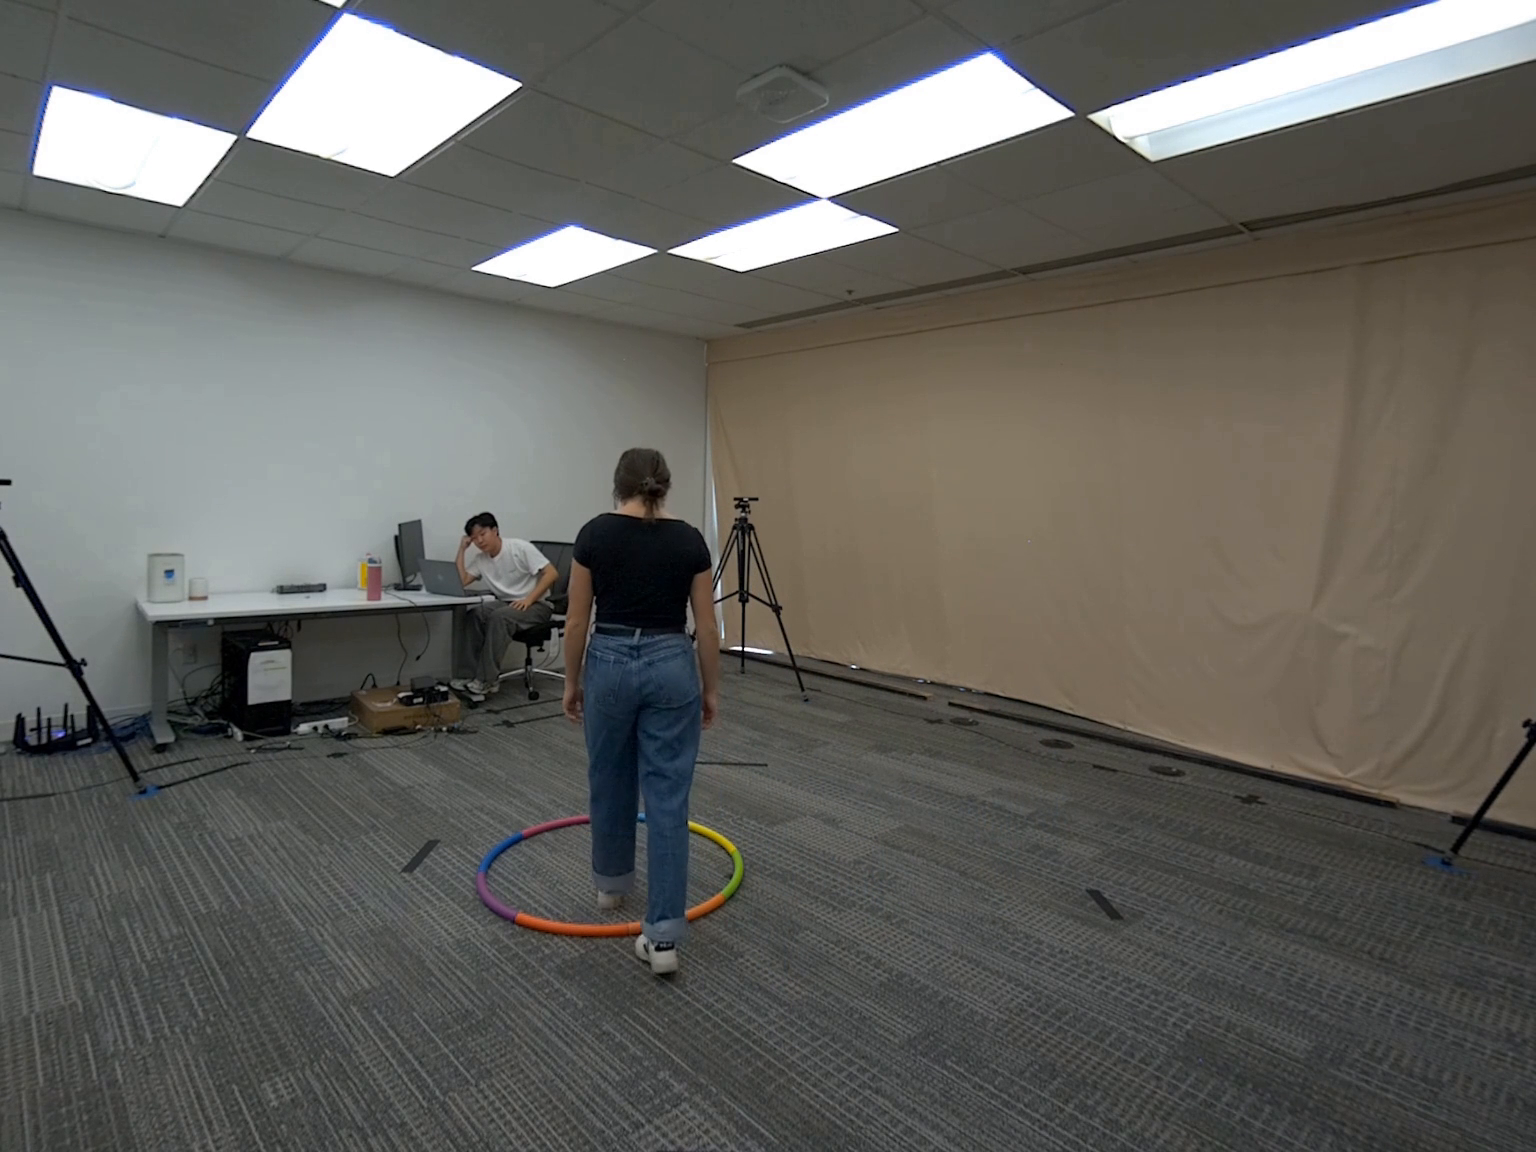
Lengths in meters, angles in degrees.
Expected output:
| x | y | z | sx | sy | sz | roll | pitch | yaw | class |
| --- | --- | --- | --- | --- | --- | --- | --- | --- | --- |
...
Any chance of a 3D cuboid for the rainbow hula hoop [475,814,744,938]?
| x | y | z | sx | sy | sz | roll | pitch | yaw | class |
| --- | --- | --- | --- | --- | --- | --- | --- | --- | --- |
| -0.579 | 1.068 | 3.132 | 0.978 | 0.035 | 0.982 | 1 | 5 | -1 | rainbow hula hoop |
